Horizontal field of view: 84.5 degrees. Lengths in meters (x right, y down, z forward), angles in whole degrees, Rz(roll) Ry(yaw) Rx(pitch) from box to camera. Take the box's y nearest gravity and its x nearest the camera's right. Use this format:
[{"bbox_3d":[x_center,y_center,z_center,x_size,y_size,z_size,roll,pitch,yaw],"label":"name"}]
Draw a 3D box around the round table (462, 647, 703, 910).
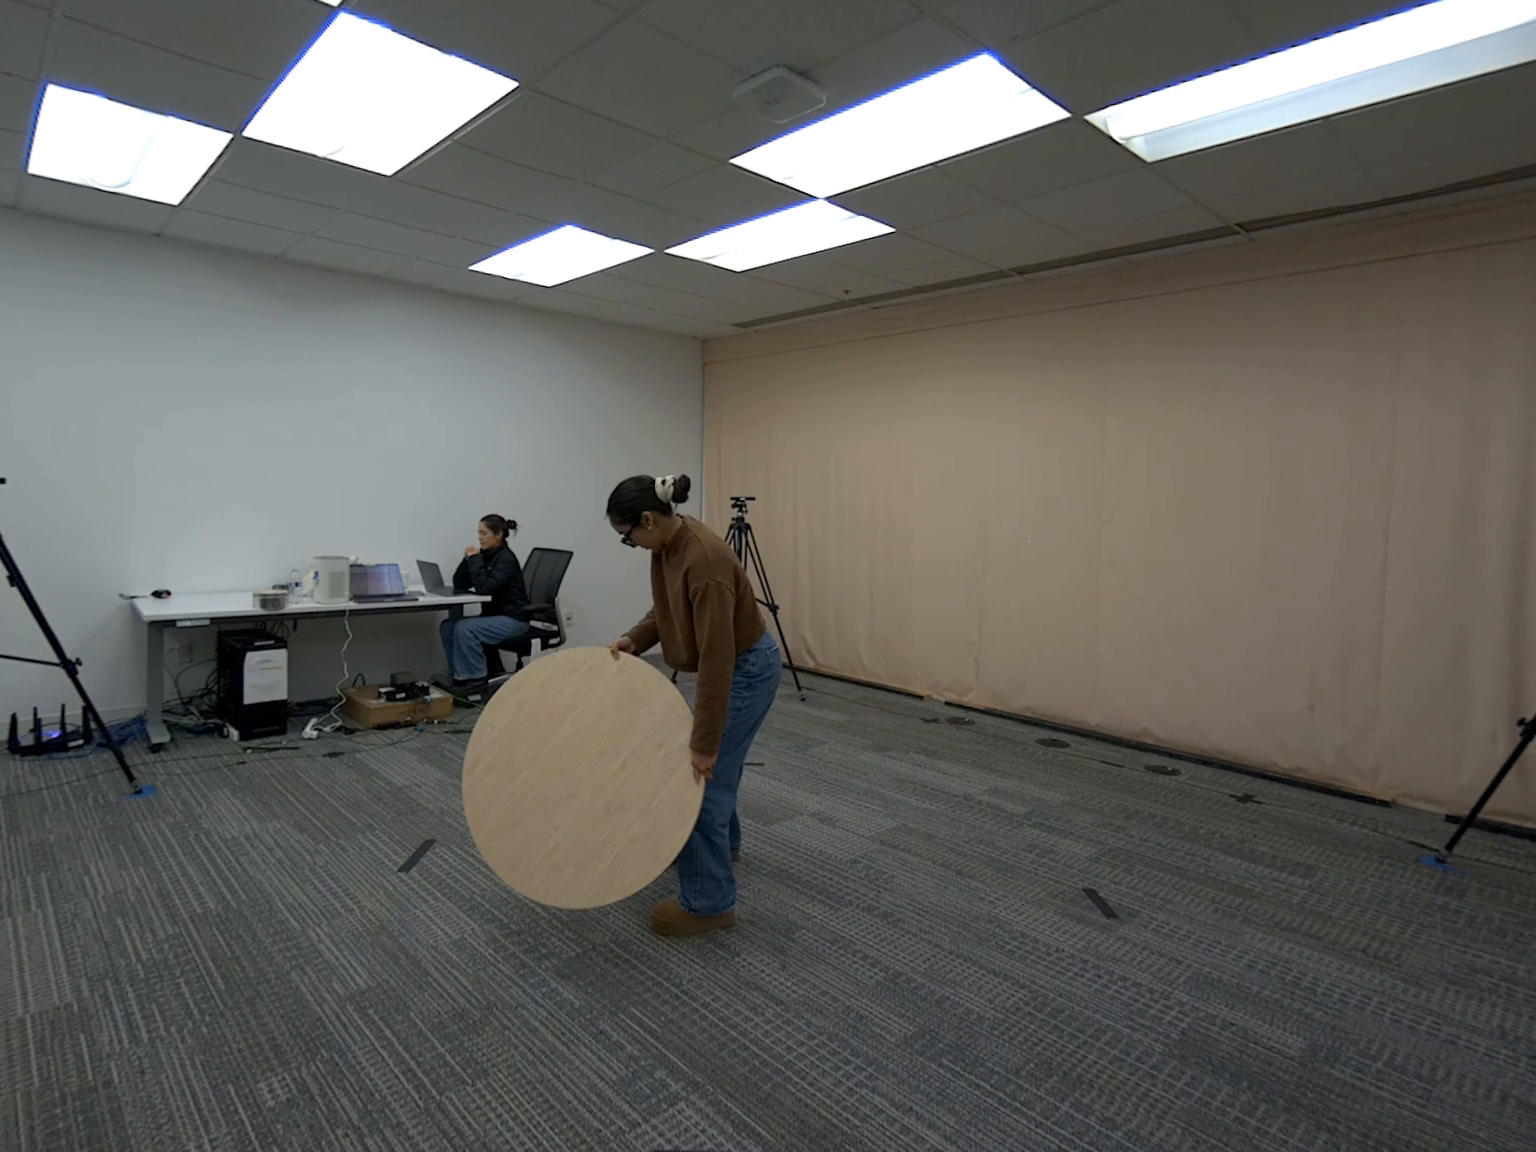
[{"bbox_3d":[-0.542,0.701,2.928,0.770,0.772,0.780,2,-16,8],"label":"round table"}]
